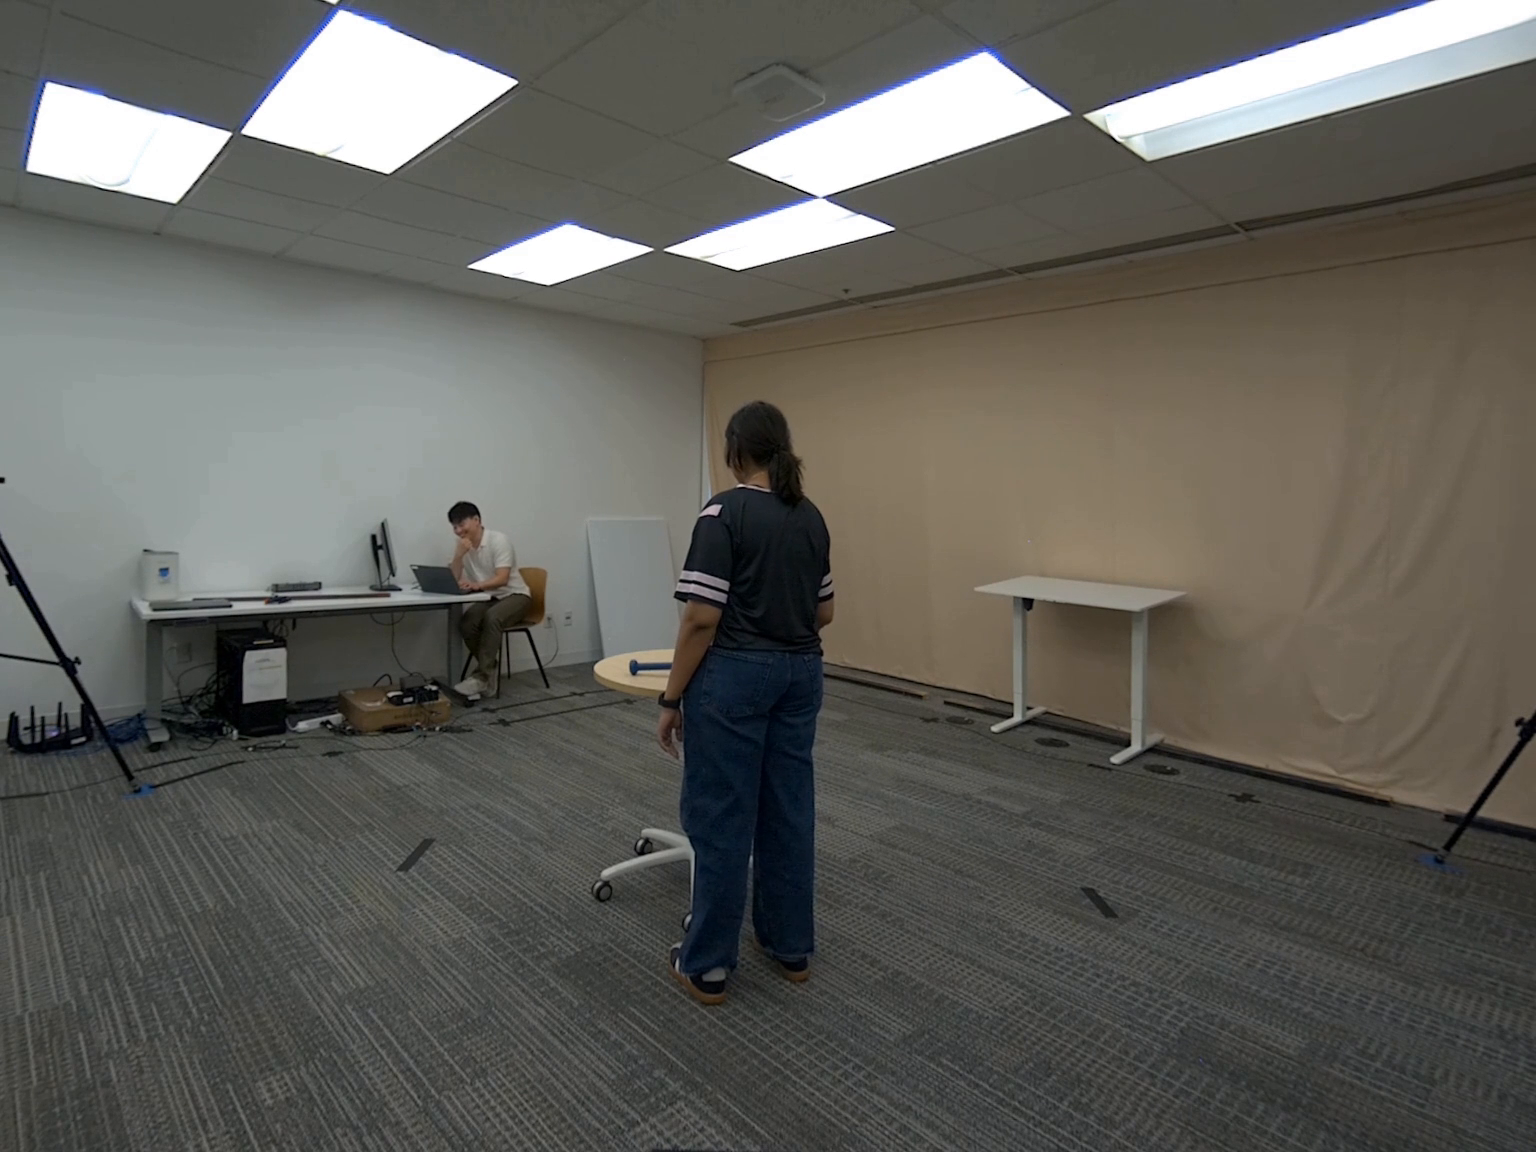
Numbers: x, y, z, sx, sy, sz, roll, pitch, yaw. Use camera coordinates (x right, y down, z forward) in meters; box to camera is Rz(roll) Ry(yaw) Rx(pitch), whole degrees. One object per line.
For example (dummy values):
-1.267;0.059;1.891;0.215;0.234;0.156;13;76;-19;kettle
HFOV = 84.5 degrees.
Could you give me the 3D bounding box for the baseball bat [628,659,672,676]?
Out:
-0.203;0.311;2.833;0.542;0.089;0.089;-1;4;-2;baseball bat
